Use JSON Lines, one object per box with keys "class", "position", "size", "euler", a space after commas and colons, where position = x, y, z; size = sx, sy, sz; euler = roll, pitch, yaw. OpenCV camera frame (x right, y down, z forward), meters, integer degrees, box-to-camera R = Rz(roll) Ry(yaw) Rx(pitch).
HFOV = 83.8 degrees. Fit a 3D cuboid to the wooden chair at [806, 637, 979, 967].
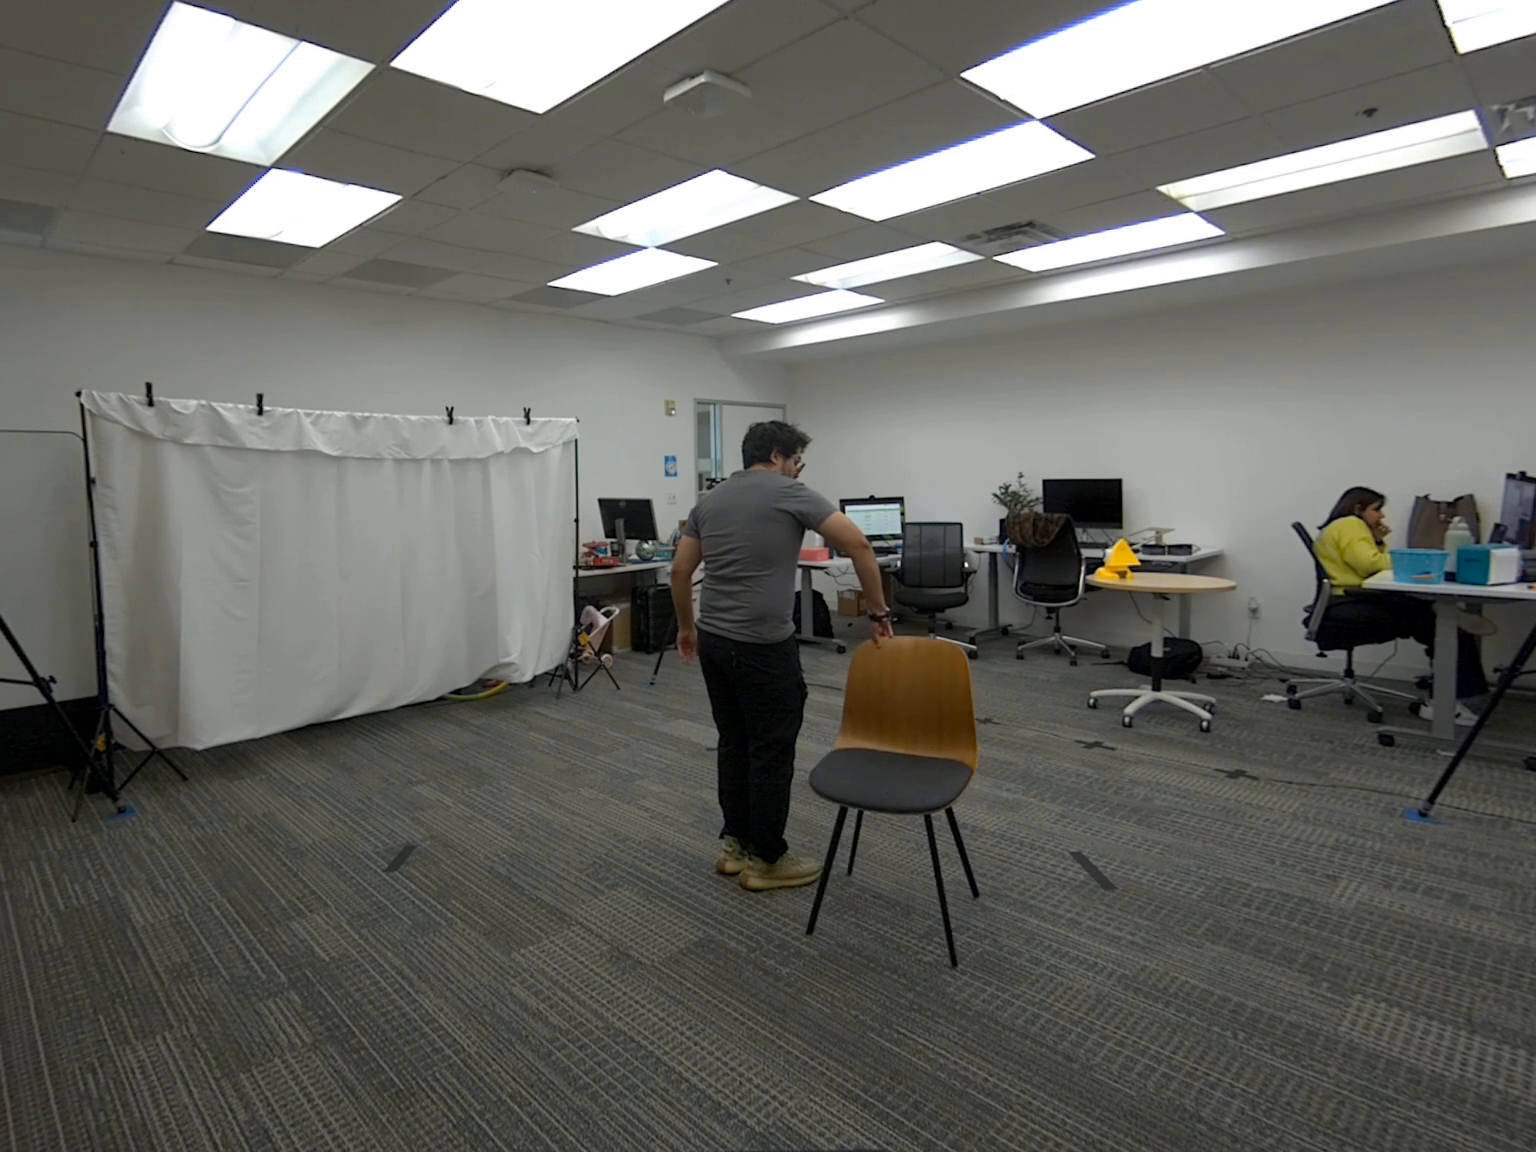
{"class": "wooden chair", "position": [0.396, 0.656, 2.676], "size": [0.489, 0.877, 0.512], "euler": [1, 0, 23]}
